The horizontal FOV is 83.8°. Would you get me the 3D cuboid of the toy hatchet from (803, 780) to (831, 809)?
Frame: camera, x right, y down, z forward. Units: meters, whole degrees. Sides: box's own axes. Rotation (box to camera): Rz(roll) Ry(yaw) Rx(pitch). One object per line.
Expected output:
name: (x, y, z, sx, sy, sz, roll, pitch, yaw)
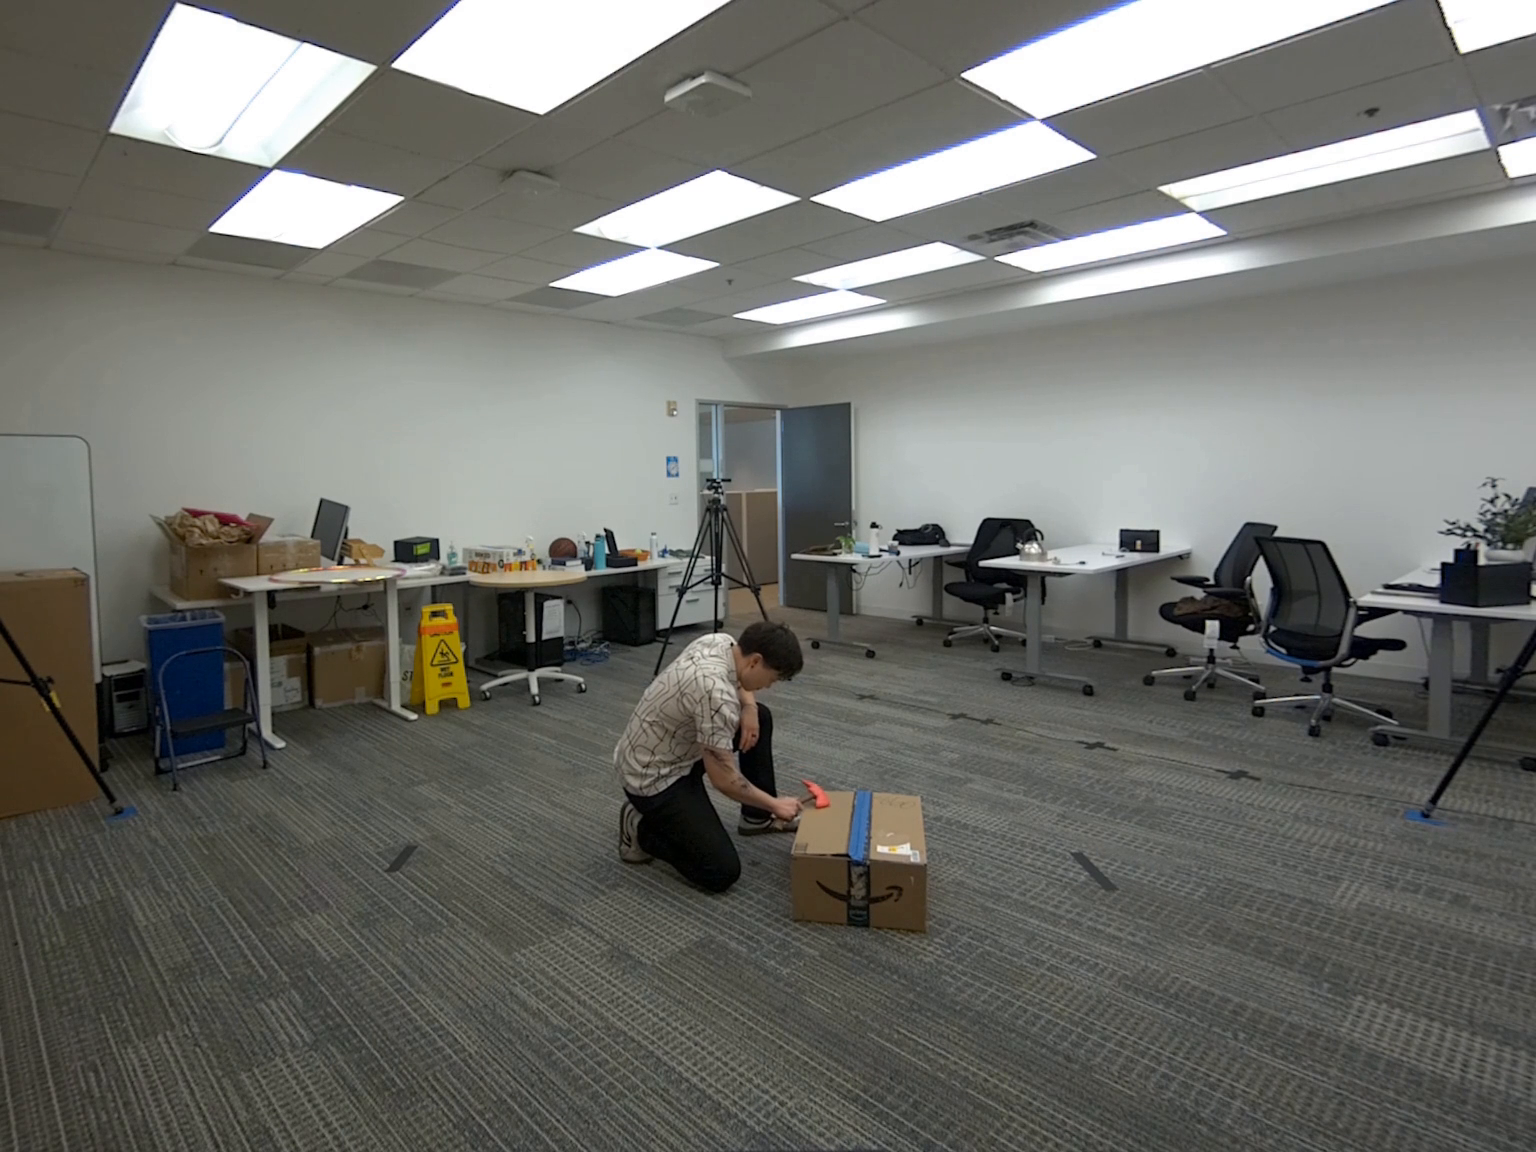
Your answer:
toy hatchet: (0.125, 0.826, 3.045, 0.134, 0.029, 0.268, 25, 37, 21)
